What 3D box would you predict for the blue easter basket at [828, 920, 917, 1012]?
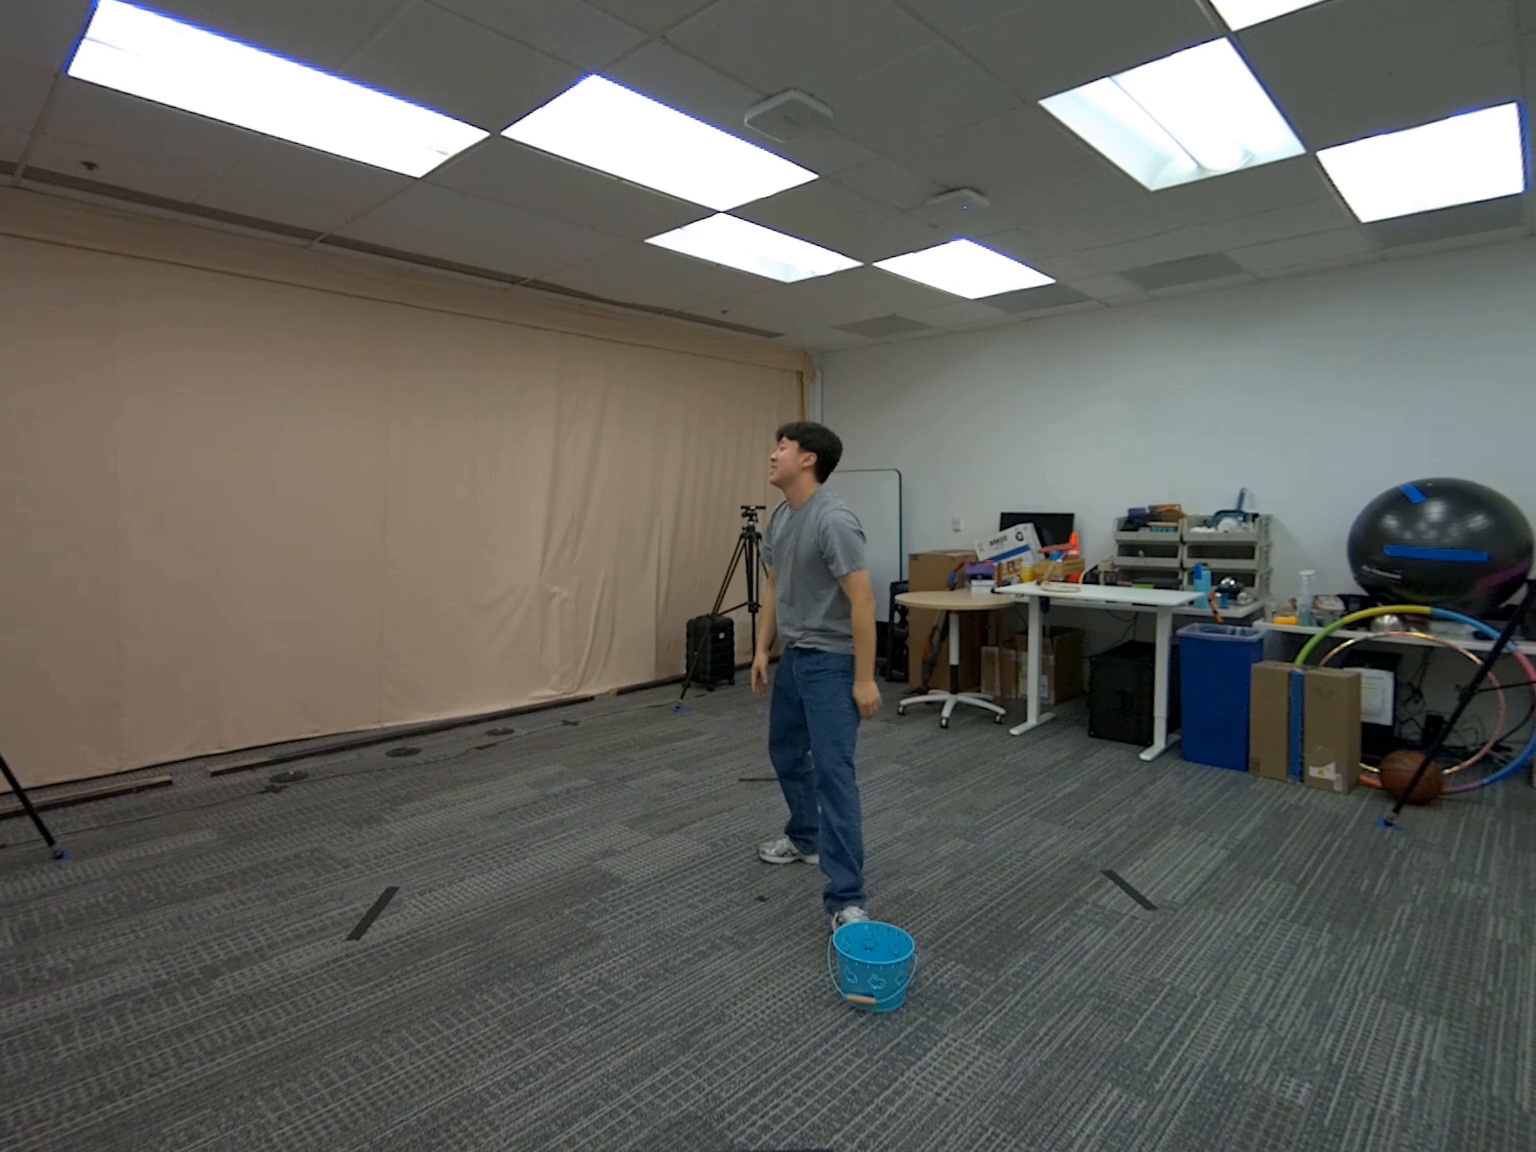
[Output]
[{"bbox_3d":[0.304,1.110,2.400,0.243,0.155,0.244,0,5,-2],"label":"blue easter basket"}]
